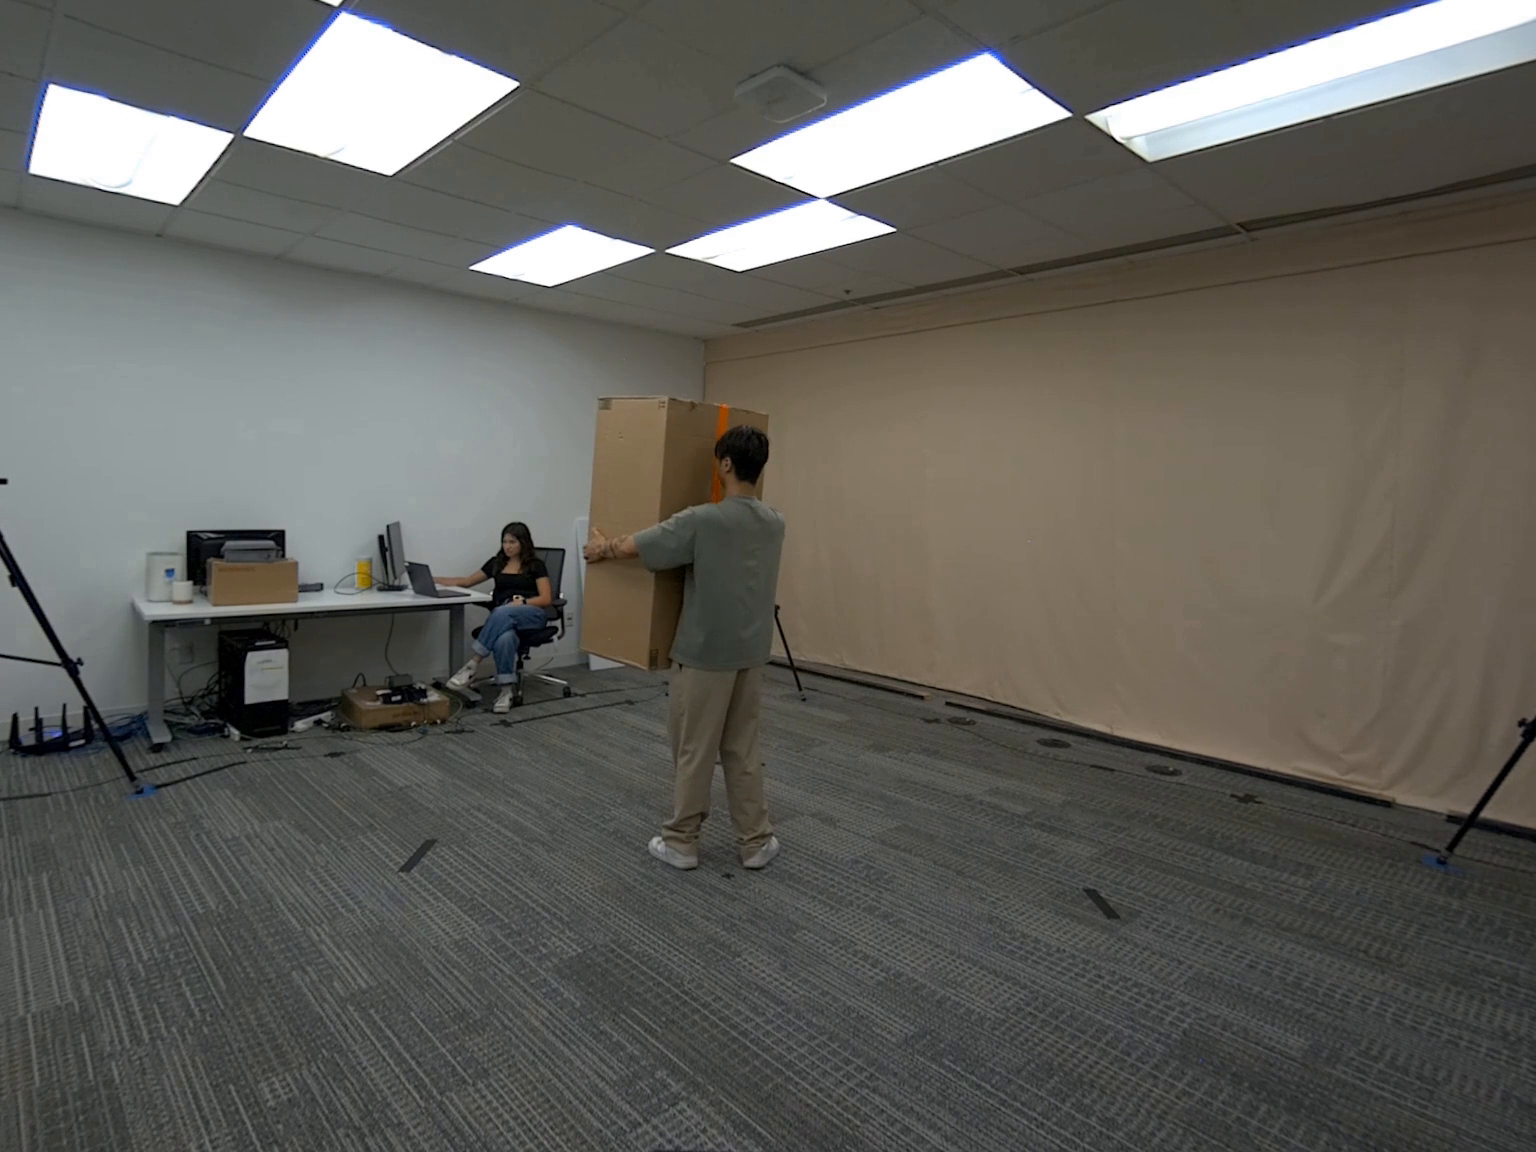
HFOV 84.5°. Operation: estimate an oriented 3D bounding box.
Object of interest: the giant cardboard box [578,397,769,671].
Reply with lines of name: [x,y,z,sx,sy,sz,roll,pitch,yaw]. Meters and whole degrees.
giant cardboard box: [-0.379,-0.185,3.443,0.437,1.023,0.564,9,6,42]
